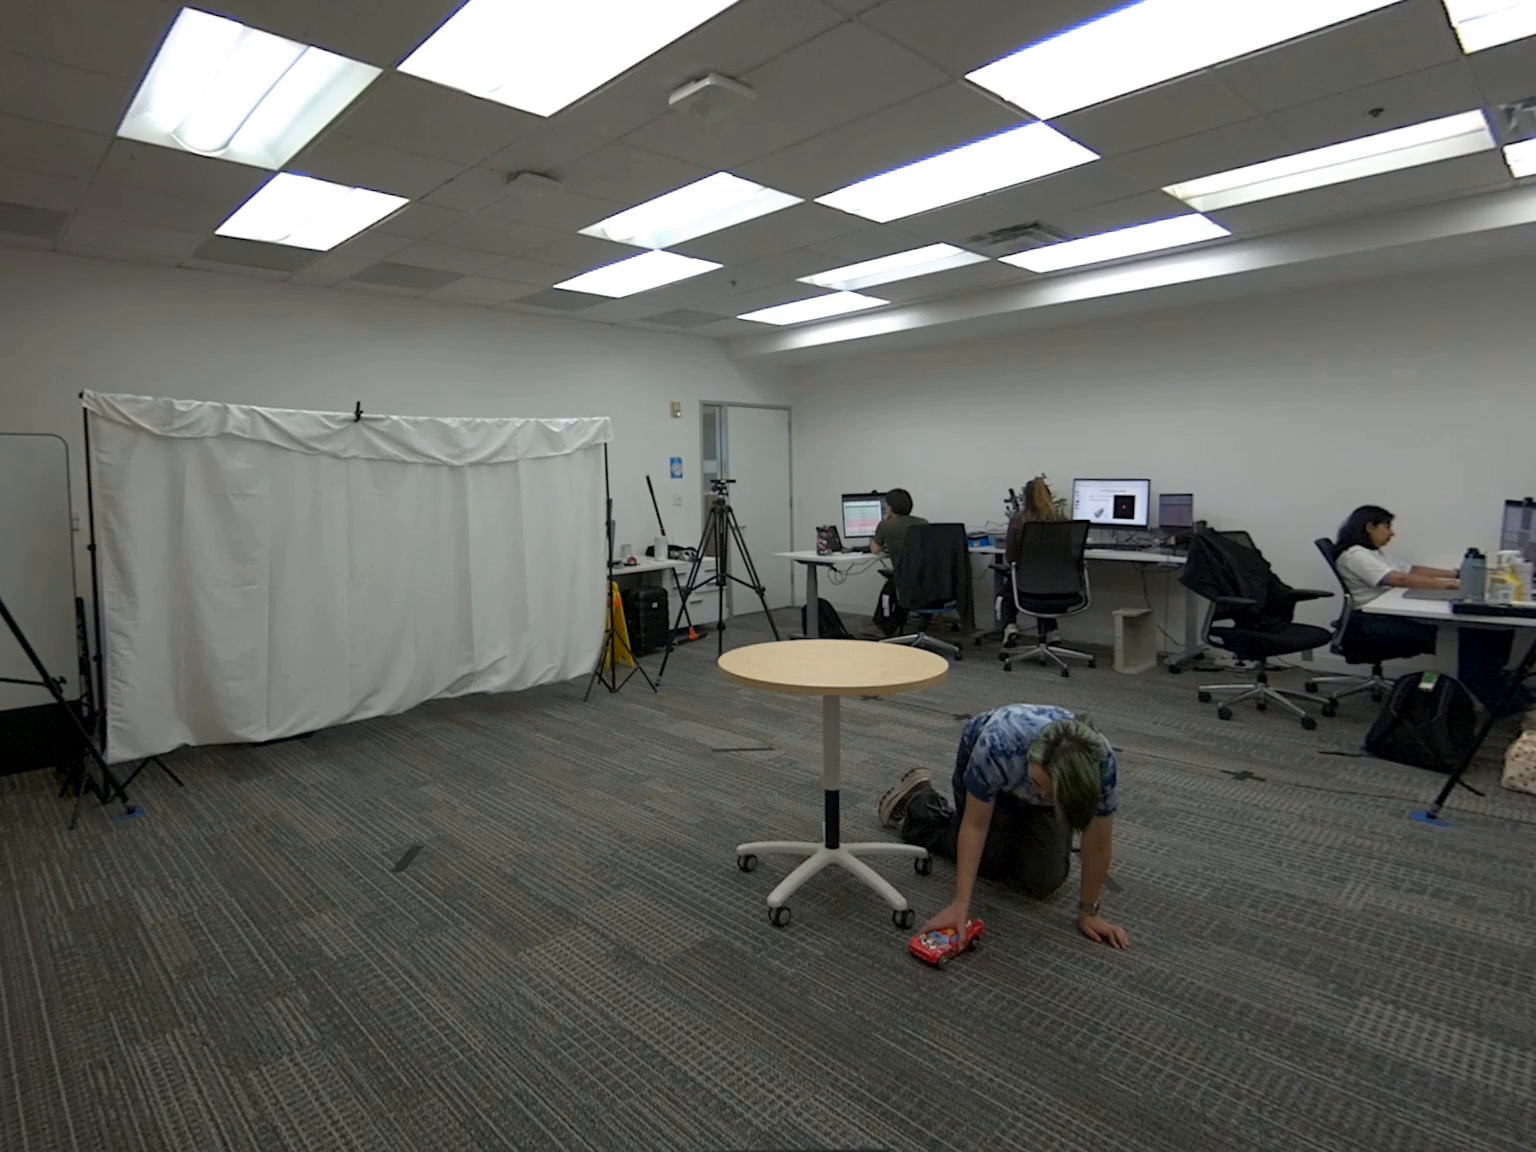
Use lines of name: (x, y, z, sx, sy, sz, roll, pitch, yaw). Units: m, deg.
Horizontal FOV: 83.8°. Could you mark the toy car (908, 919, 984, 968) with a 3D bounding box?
toy car: (0.547, 1.079, 2.515, 0.250, 0.082, 0.134, -18, 15, -38)
